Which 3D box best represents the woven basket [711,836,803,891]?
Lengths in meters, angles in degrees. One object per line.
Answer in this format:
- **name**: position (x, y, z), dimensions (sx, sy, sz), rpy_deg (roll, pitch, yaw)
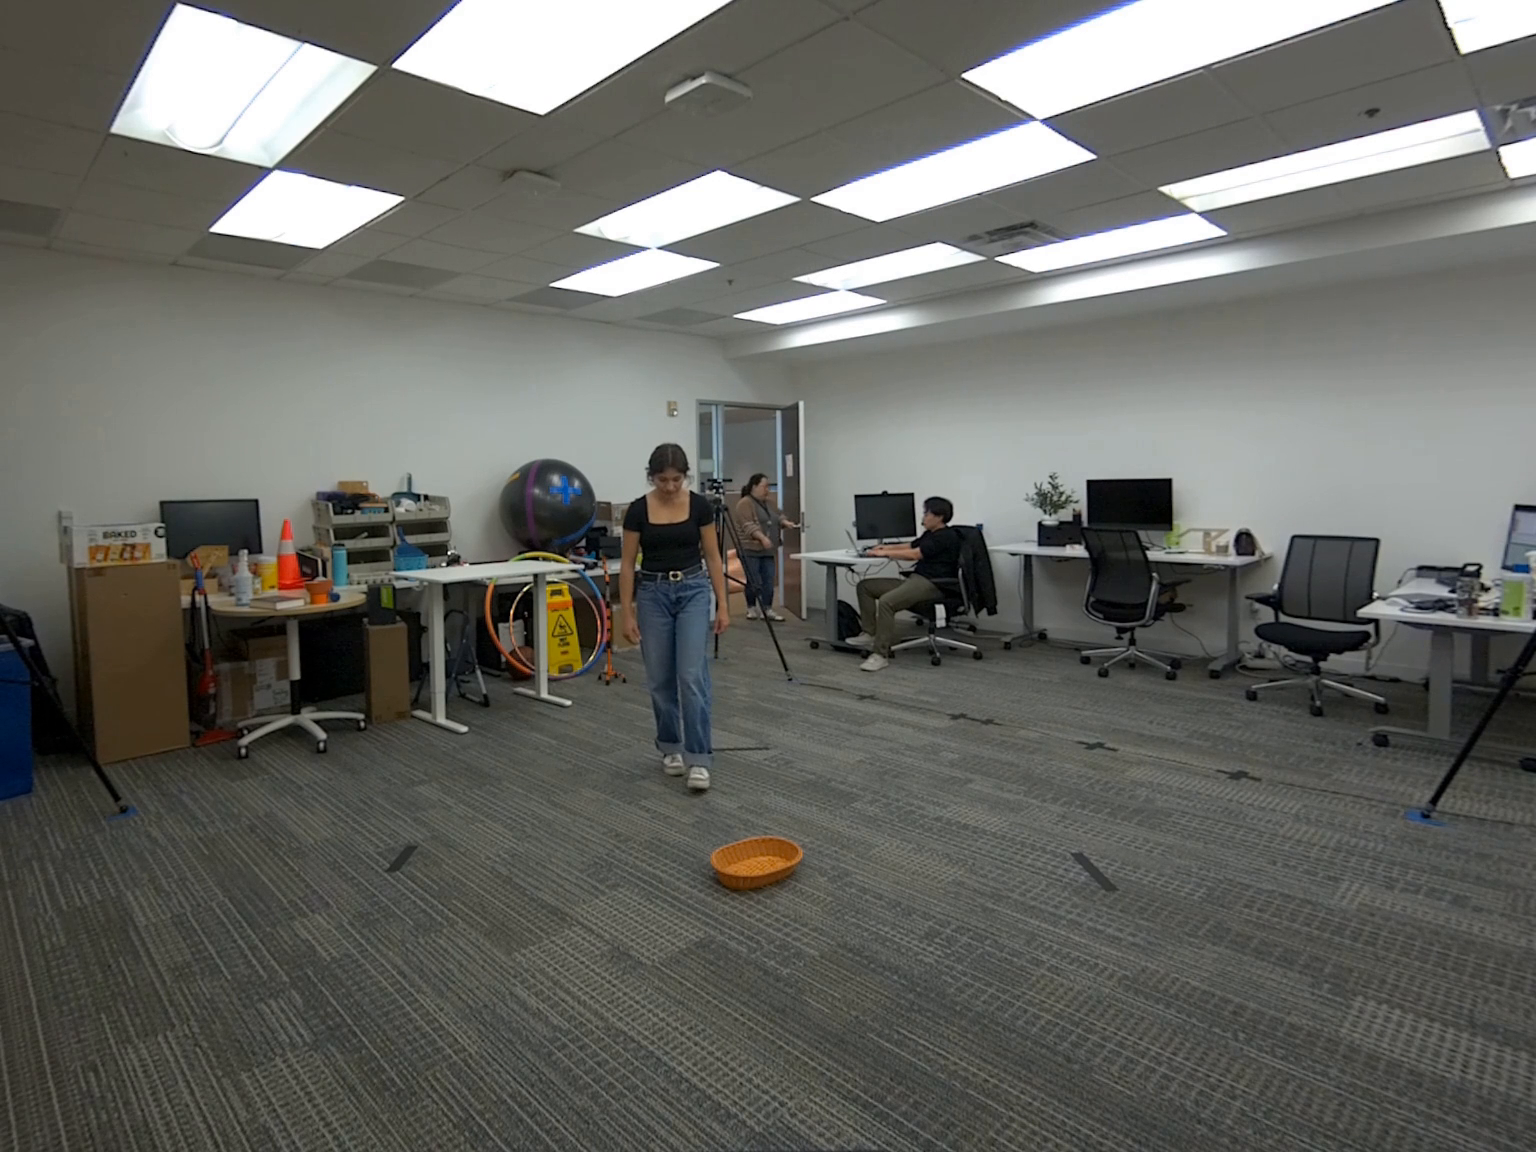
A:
- **woven basket**: position (-0.041, 1.017, 3.017), dimensions (0.342, 0.073, 0.260), rpy_deg (-4, 9, -32)
